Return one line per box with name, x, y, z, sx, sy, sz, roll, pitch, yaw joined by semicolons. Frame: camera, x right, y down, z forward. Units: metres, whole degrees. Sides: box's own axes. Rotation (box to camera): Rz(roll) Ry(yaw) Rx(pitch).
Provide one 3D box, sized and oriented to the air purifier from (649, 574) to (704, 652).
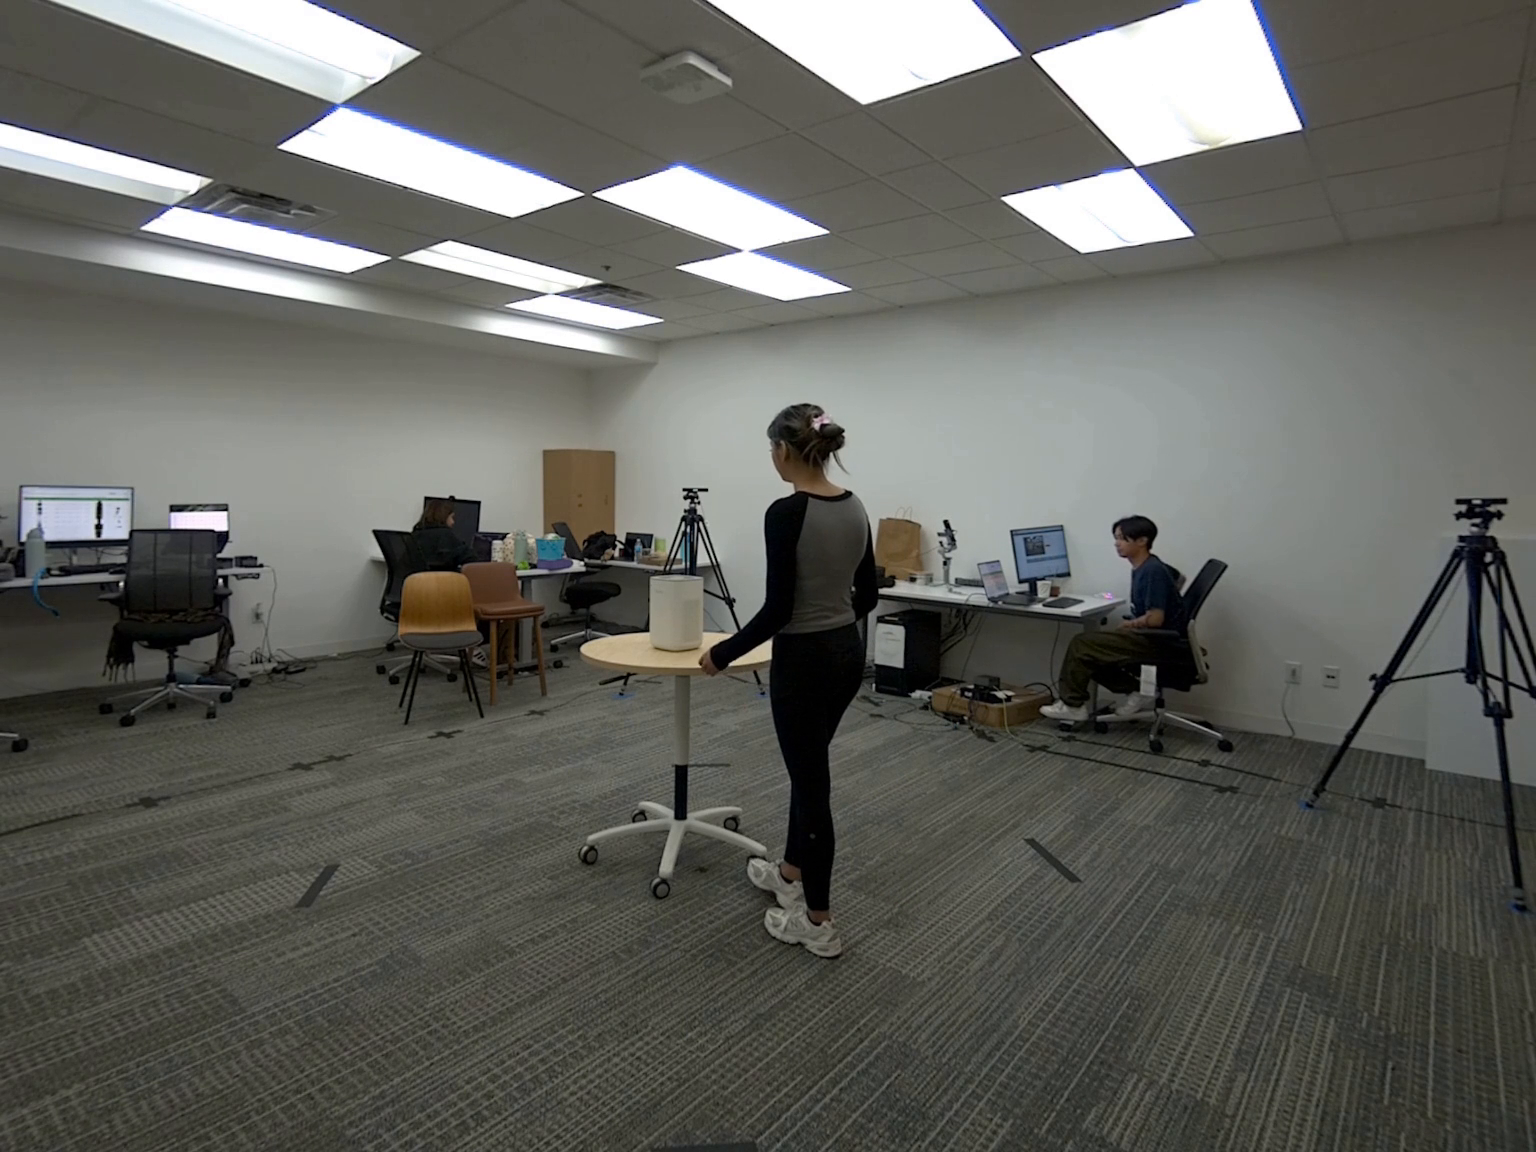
air purifier;-0.349;0.131;3.184;0.177;0.265;0.166;4;4;41
